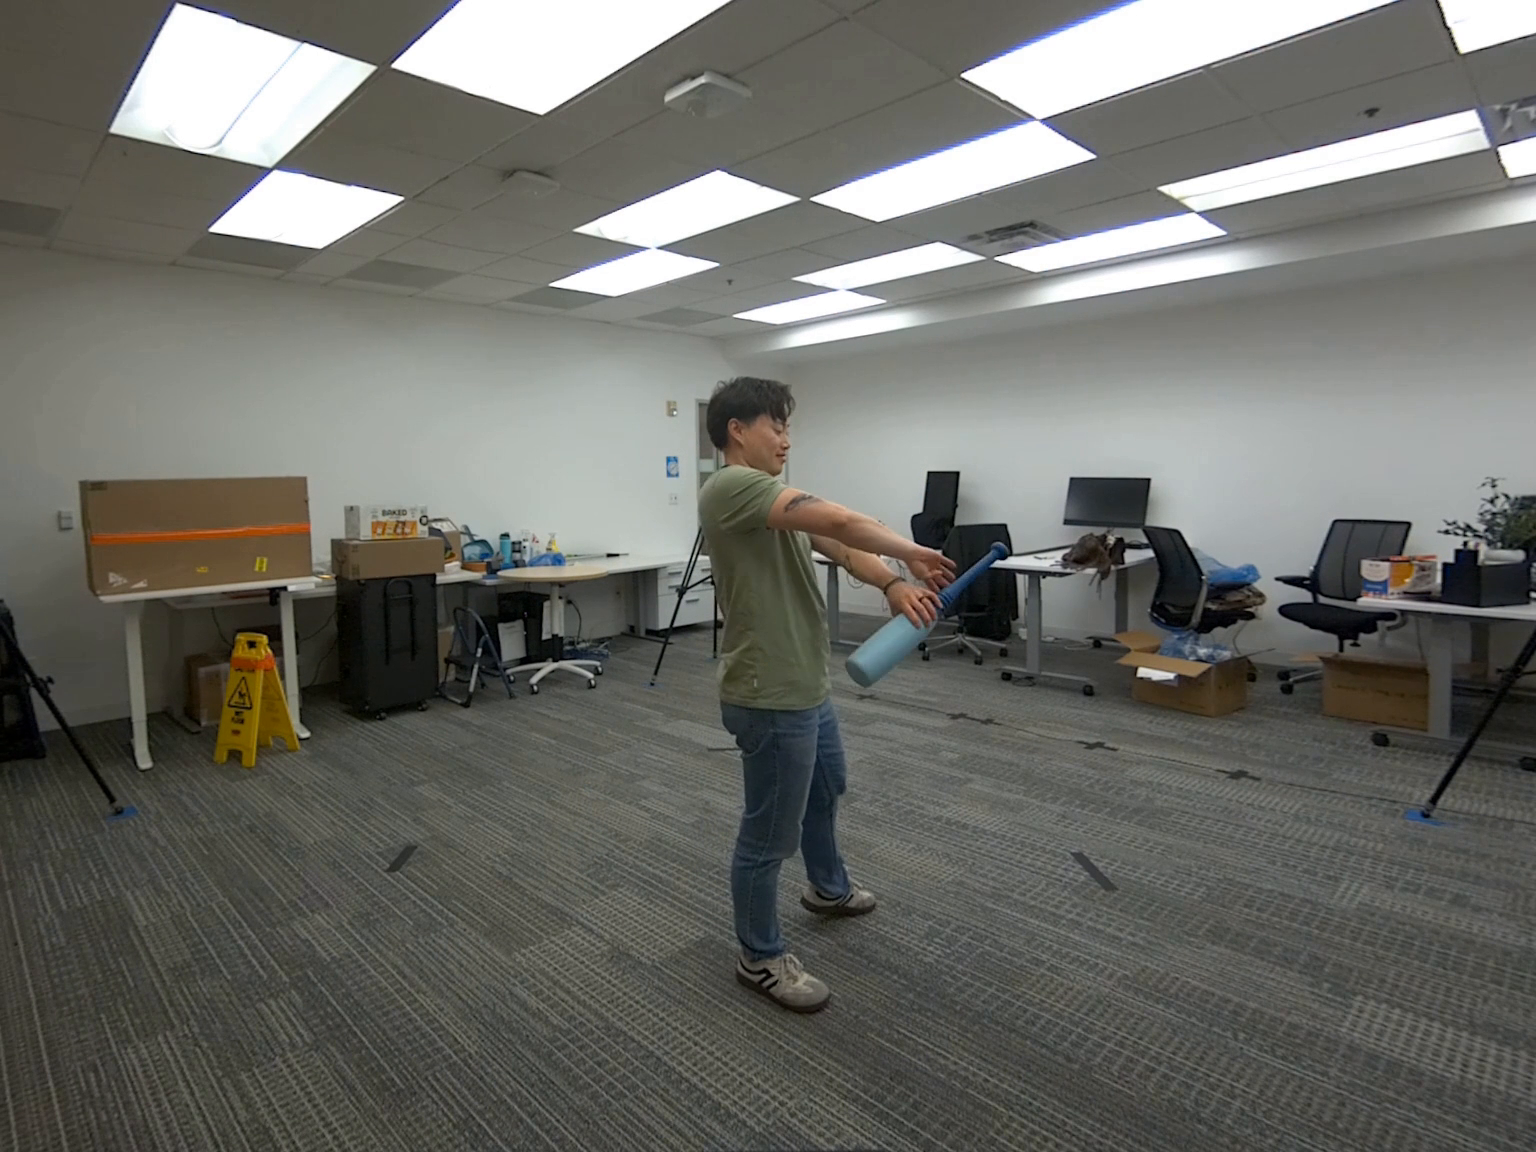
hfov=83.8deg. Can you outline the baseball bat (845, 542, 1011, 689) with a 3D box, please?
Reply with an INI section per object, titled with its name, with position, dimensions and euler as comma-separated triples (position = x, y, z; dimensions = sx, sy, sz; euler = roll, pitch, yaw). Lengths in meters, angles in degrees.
[baseball bat]
position = 0.405, 0.083, 2.094
dimensions = 0.540, 0.087, 0.091
euler = -37, 21, -22
